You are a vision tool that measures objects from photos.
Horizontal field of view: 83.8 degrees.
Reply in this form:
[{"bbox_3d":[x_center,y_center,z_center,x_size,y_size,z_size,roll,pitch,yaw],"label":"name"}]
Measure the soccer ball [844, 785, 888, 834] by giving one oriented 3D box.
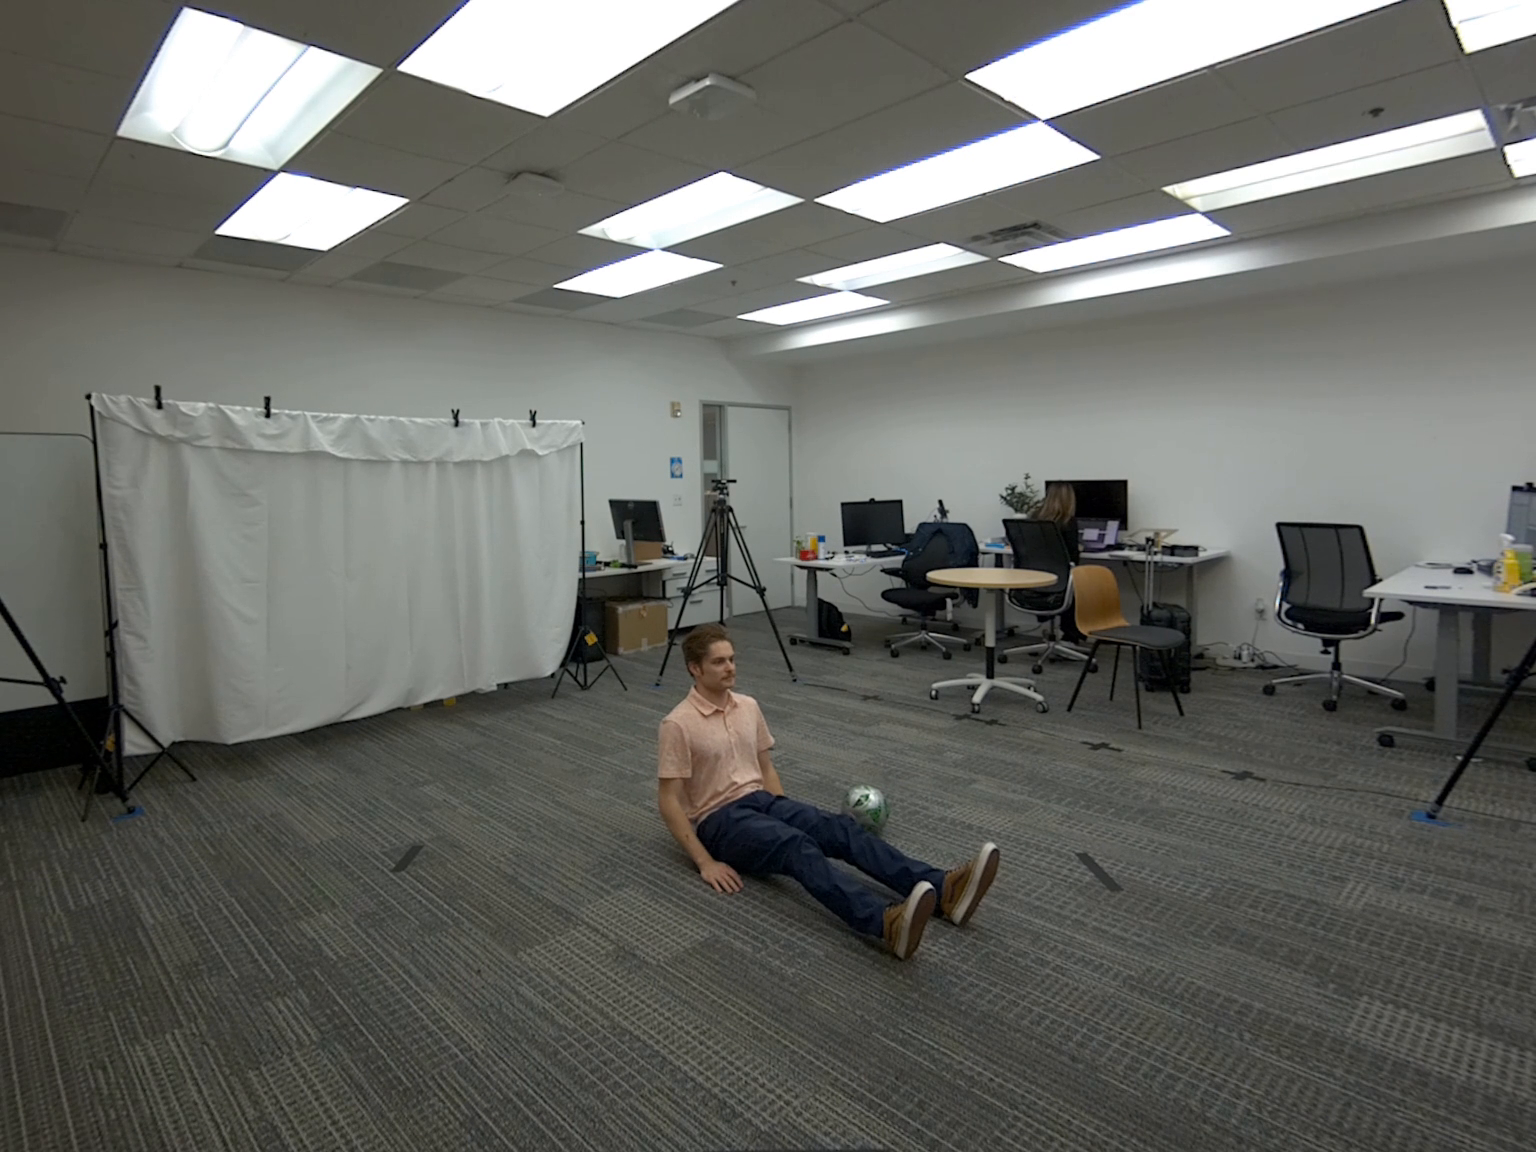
[{"bbox_3d":[0.371,0.909,3.349,0.187,0.187,0.188,-1,5,-2],"label":"soccer ball"}]
